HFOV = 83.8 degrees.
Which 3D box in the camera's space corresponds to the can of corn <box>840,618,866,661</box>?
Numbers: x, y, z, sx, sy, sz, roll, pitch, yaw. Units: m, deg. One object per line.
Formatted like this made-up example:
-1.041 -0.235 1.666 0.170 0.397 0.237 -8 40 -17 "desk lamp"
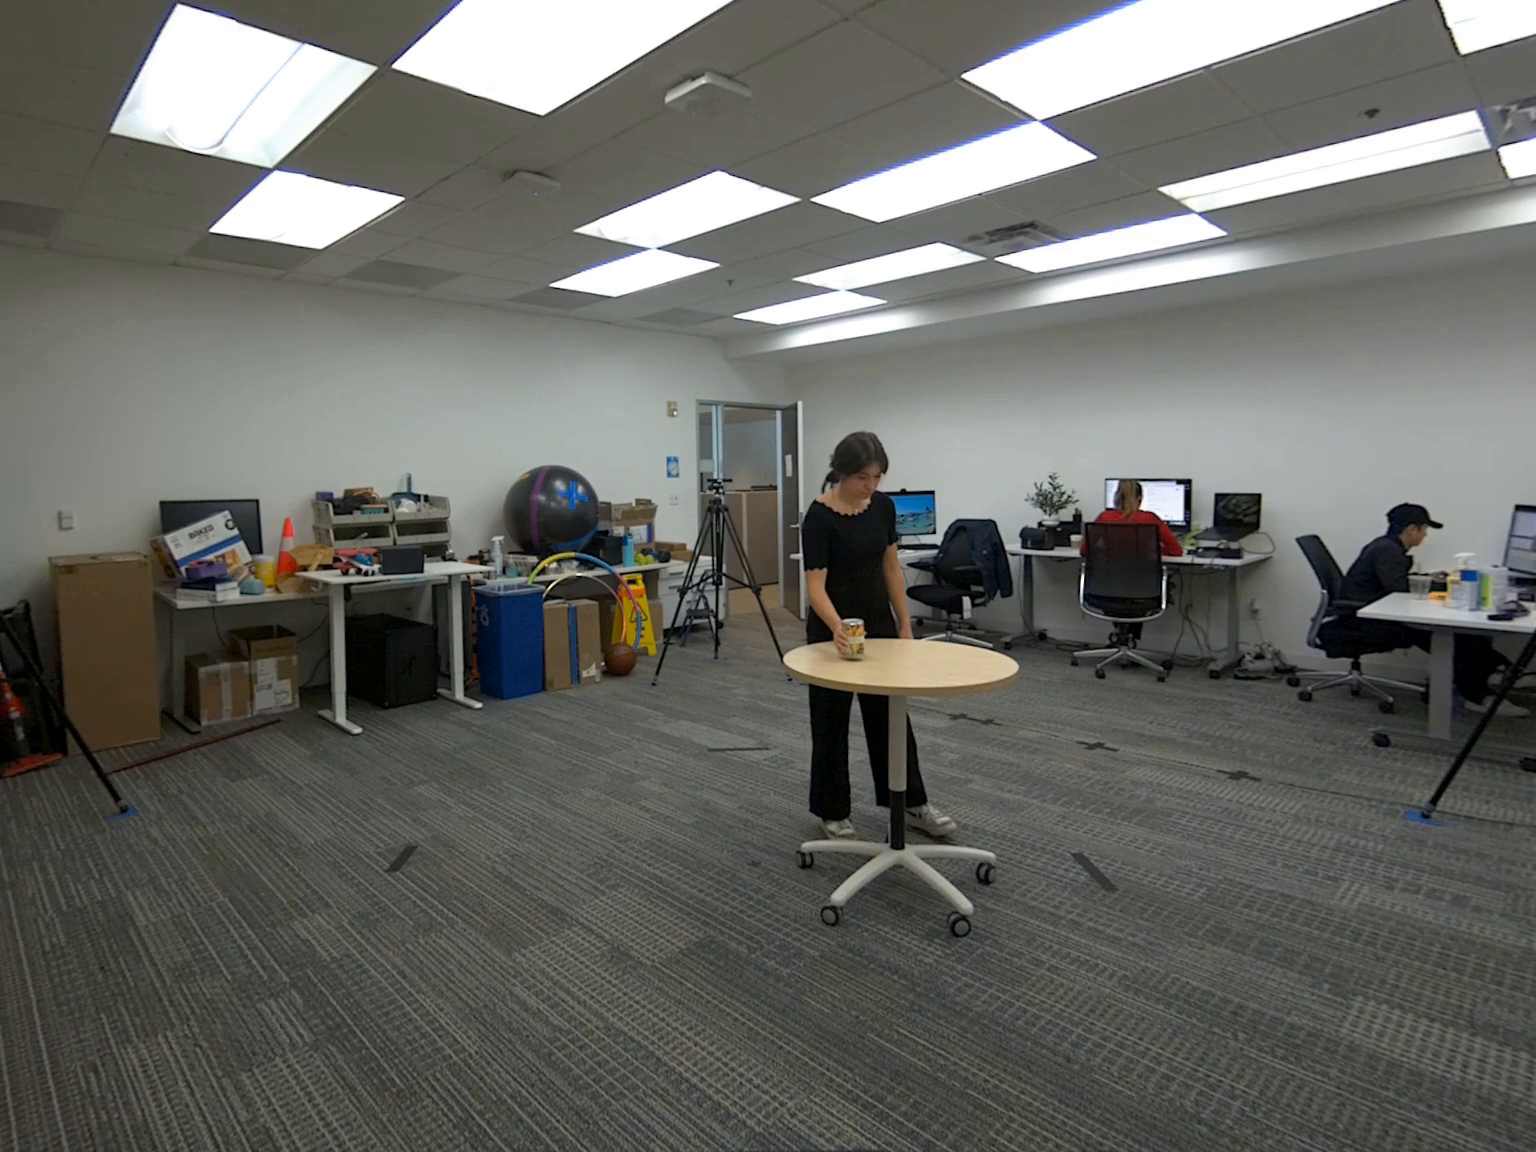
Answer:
0.288 0.210 2.861 0.074 0.111 0.074 -3 4 -1 "can of corn"
